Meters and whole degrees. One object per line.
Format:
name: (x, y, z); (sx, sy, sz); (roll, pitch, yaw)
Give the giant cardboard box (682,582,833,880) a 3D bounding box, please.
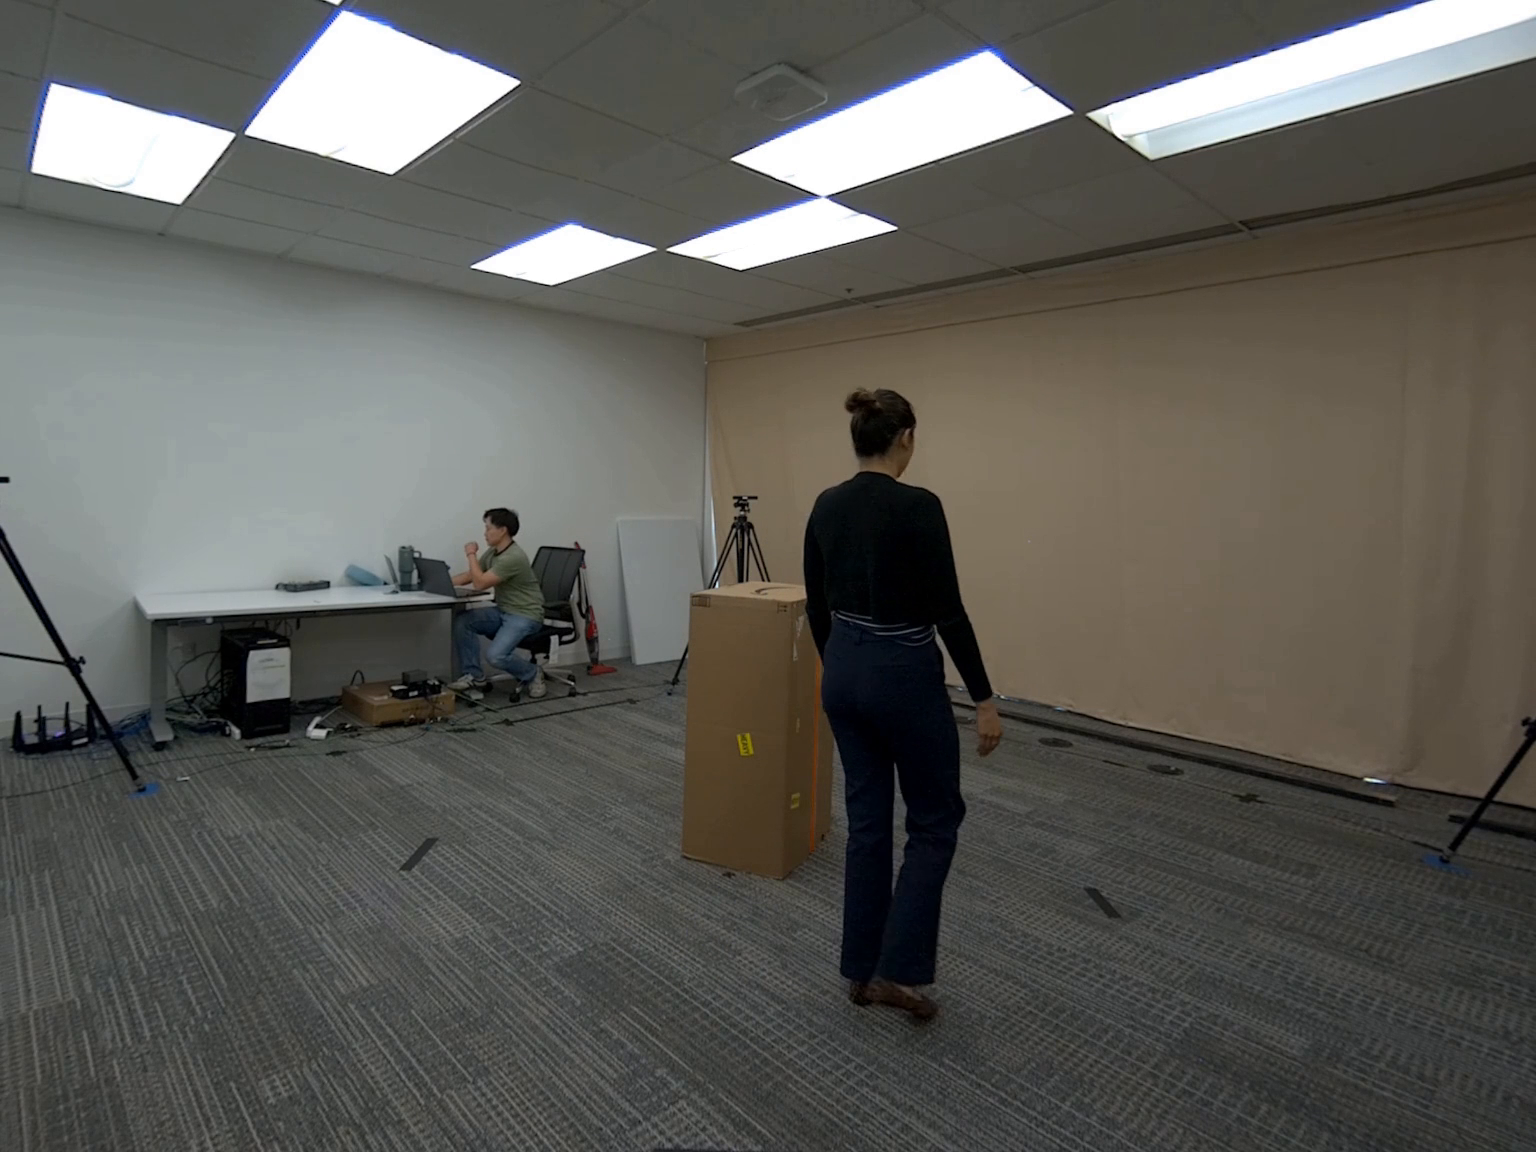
giant cardboard box: (-0.019, 0.571, 3.384); (0.434, 1.023, 0.568); (4, 4, 24)
